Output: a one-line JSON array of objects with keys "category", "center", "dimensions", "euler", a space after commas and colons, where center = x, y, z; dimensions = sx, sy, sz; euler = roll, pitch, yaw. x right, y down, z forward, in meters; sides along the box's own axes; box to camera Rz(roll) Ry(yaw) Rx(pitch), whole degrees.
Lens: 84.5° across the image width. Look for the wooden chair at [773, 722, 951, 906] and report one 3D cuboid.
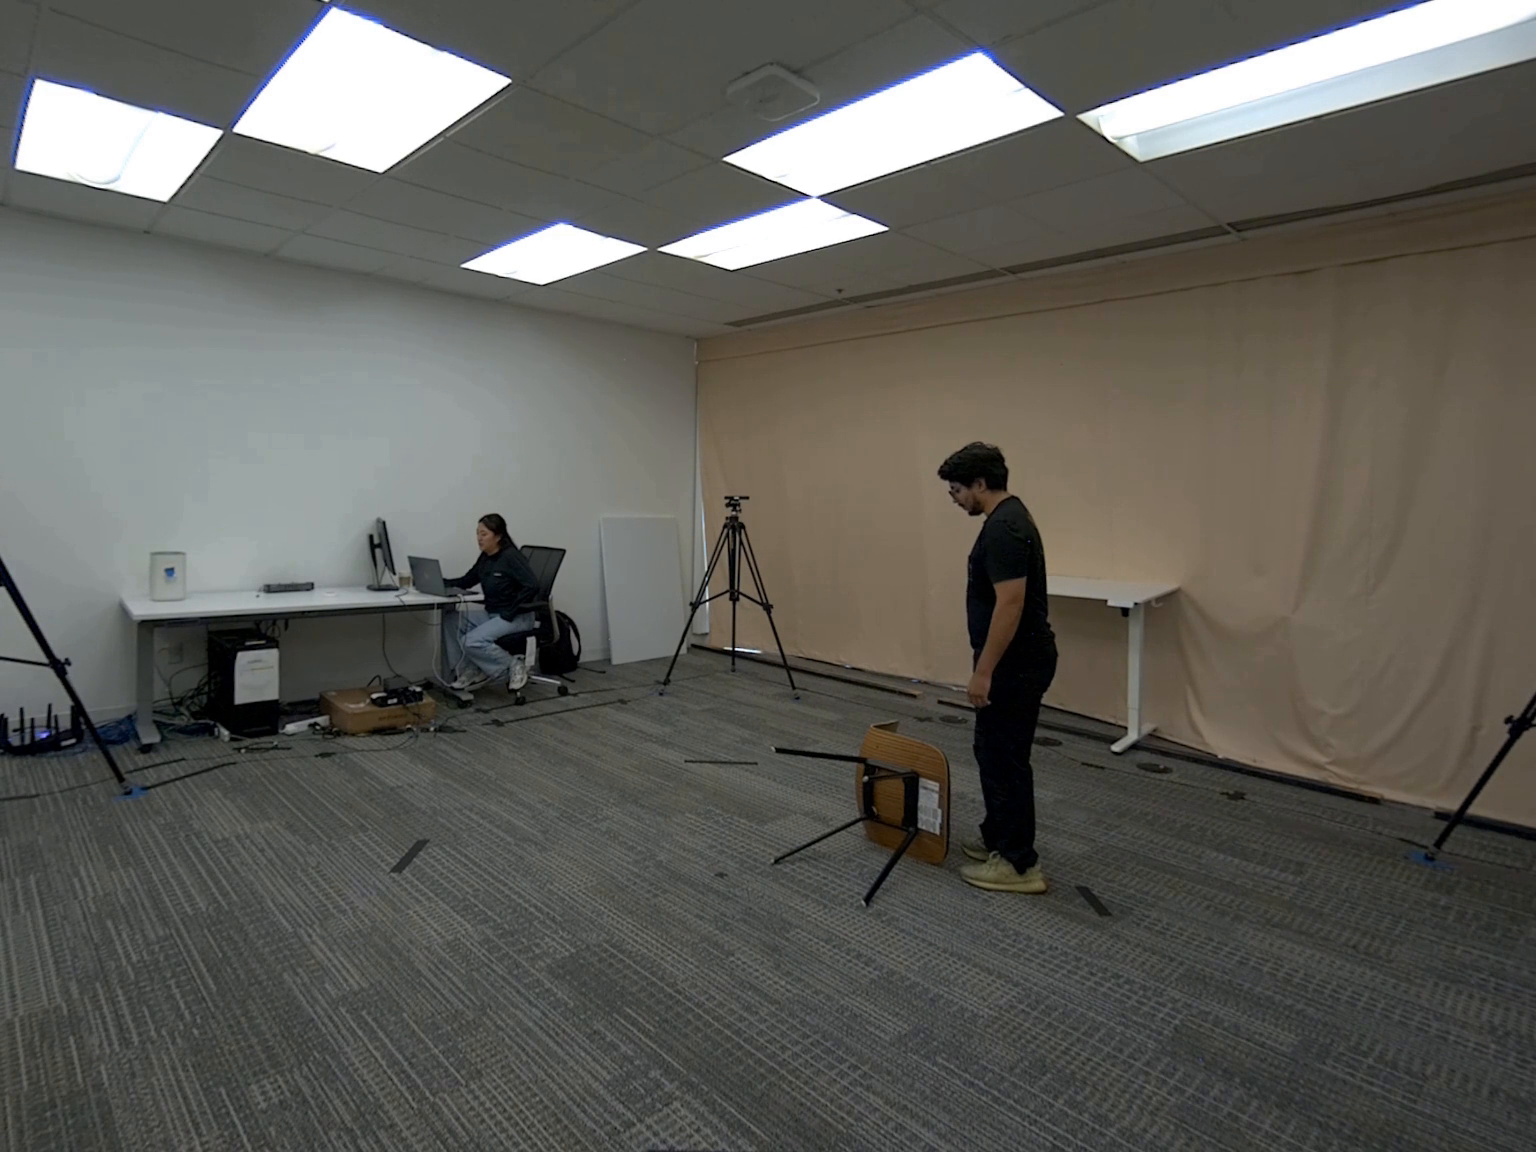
[{"category": "wooden chair", "center": [0.478, 0.866, 3.318], "dimensions": [0.536, 0.477, 0.858], "euler": [4, 5, 40]}]
